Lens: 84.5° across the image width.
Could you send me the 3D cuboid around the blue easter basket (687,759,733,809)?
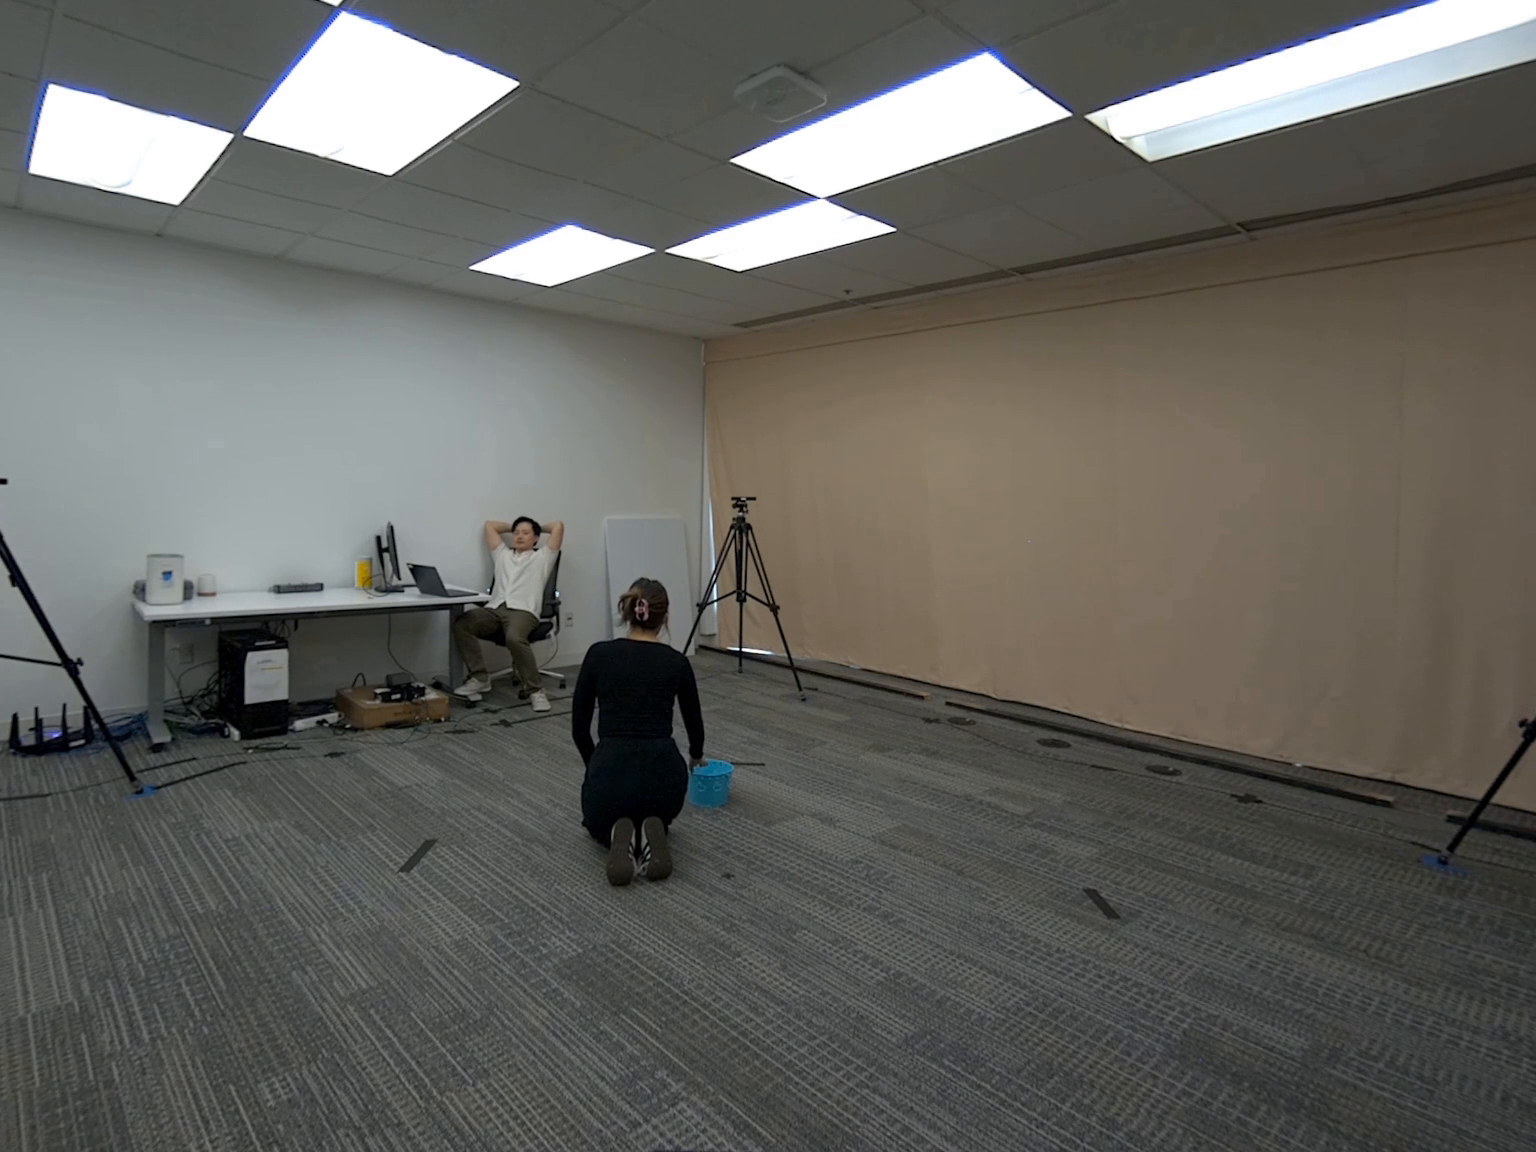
[{"bbox_3d":[-0.281,0.959,3.894,0.243,0.155,0.244,2,4,-1],"label":"blue easter basket"}]
